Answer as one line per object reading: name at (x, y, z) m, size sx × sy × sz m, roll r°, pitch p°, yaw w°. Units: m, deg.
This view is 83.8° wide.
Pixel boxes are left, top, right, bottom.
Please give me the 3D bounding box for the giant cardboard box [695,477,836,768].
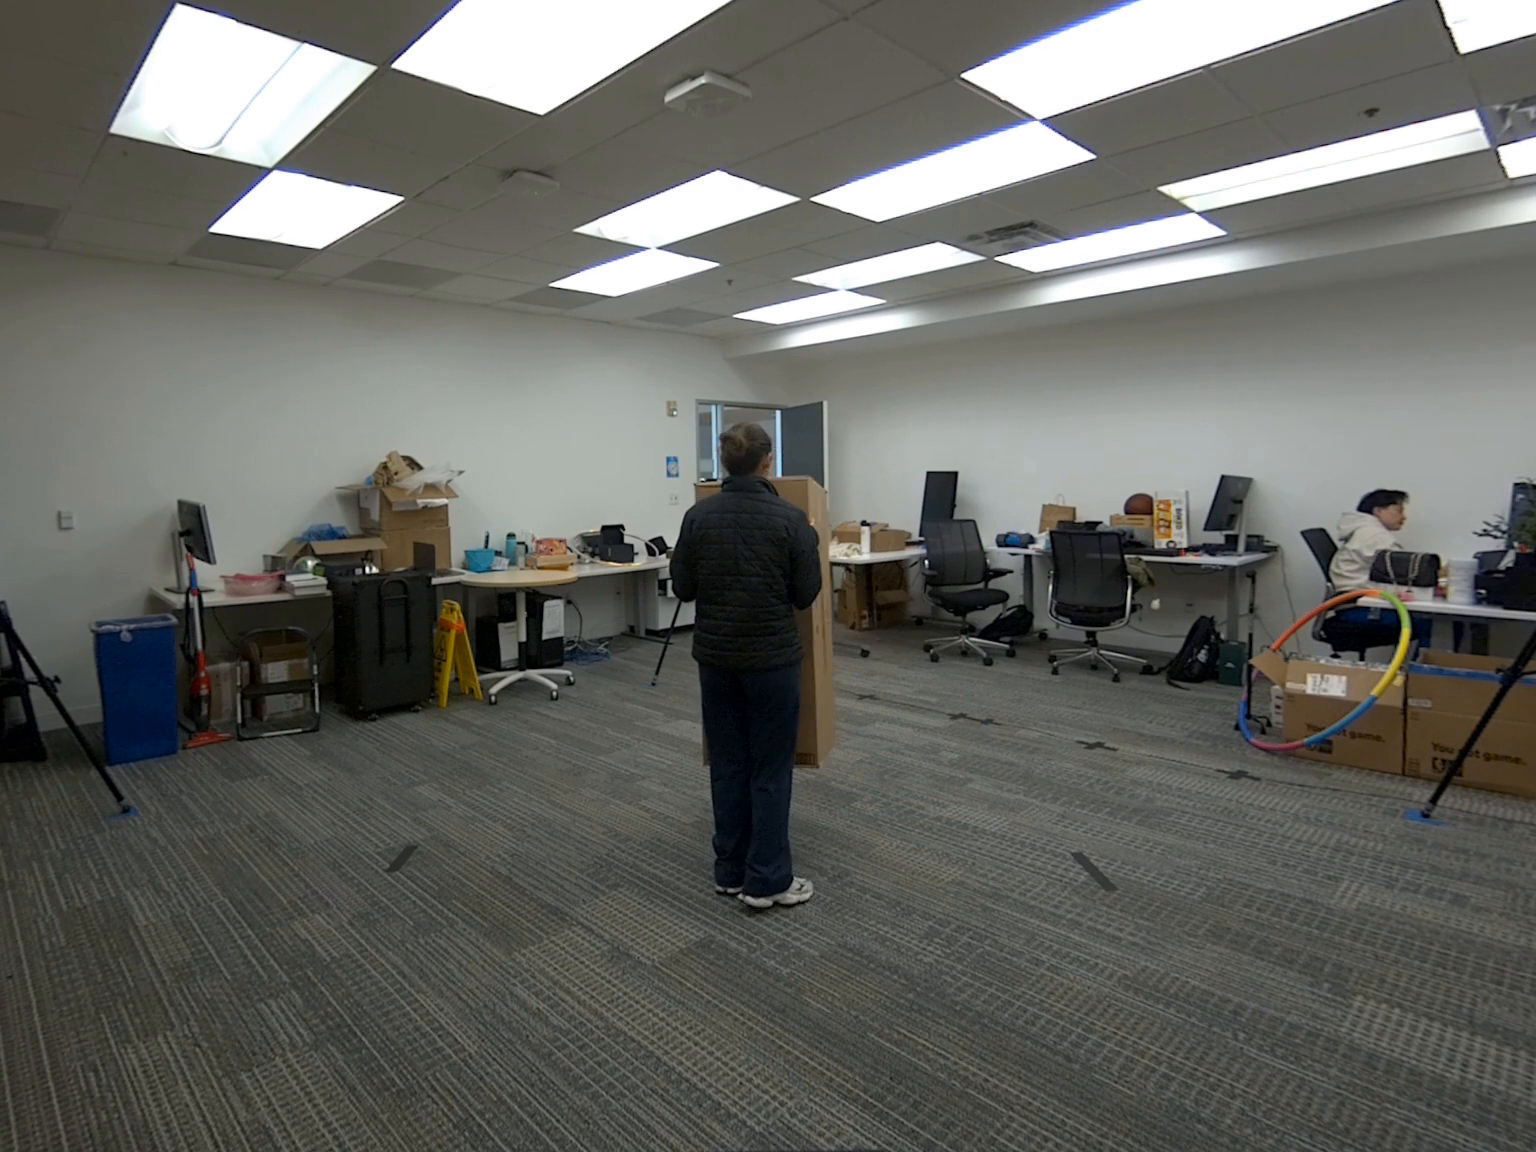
giant cardboard box at (0.007, 0.166, 3.324) m, size 0.431 × 1.029 × 0.569 m, roll -2°, pitch -3°, yaw 12°
